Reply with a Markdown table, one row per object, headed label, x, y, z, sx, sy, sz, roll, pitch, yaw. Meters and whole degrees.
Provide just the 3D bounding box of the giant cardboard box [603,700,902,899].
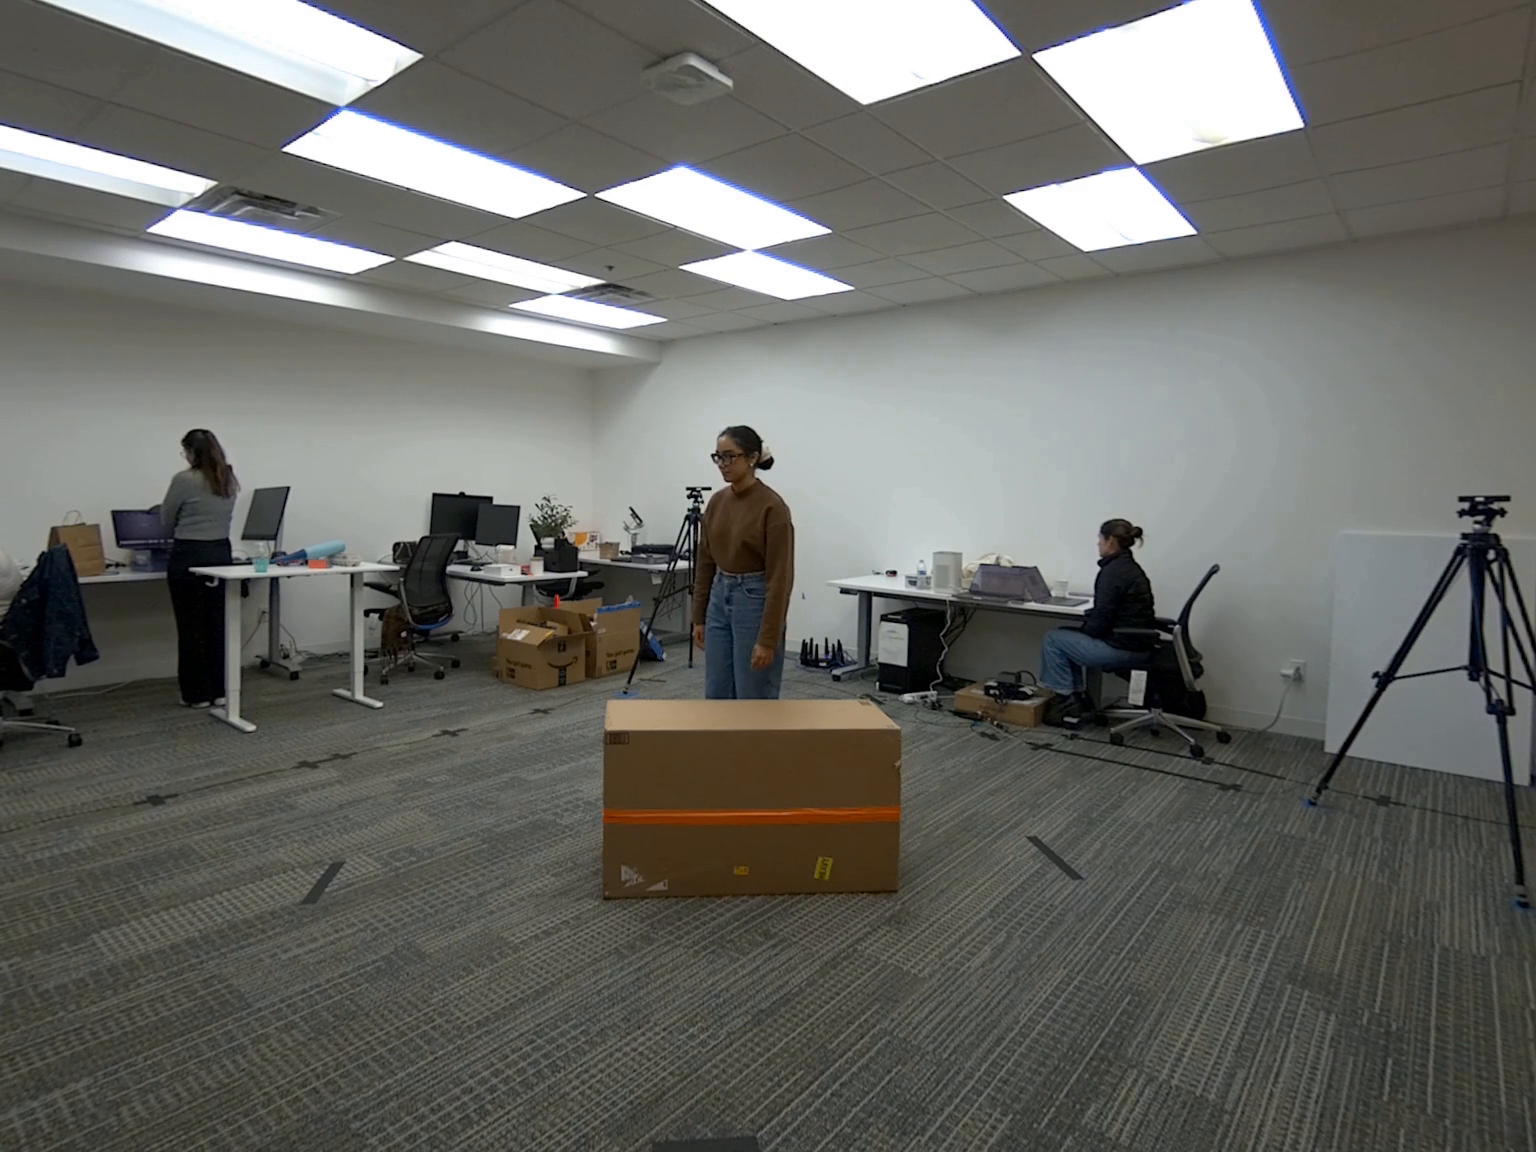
| label | x | y | z | sx | sy | sz | roll | pitch | yaw |
| --- | --- | --- | --- | --- | --- | --- | --- | --- | --- |
| giant cardboard box | -0.086 | 0.783 | 3.091 | 1.019 | 0.576 | 0.430 | 1 | 4 | -6 |
